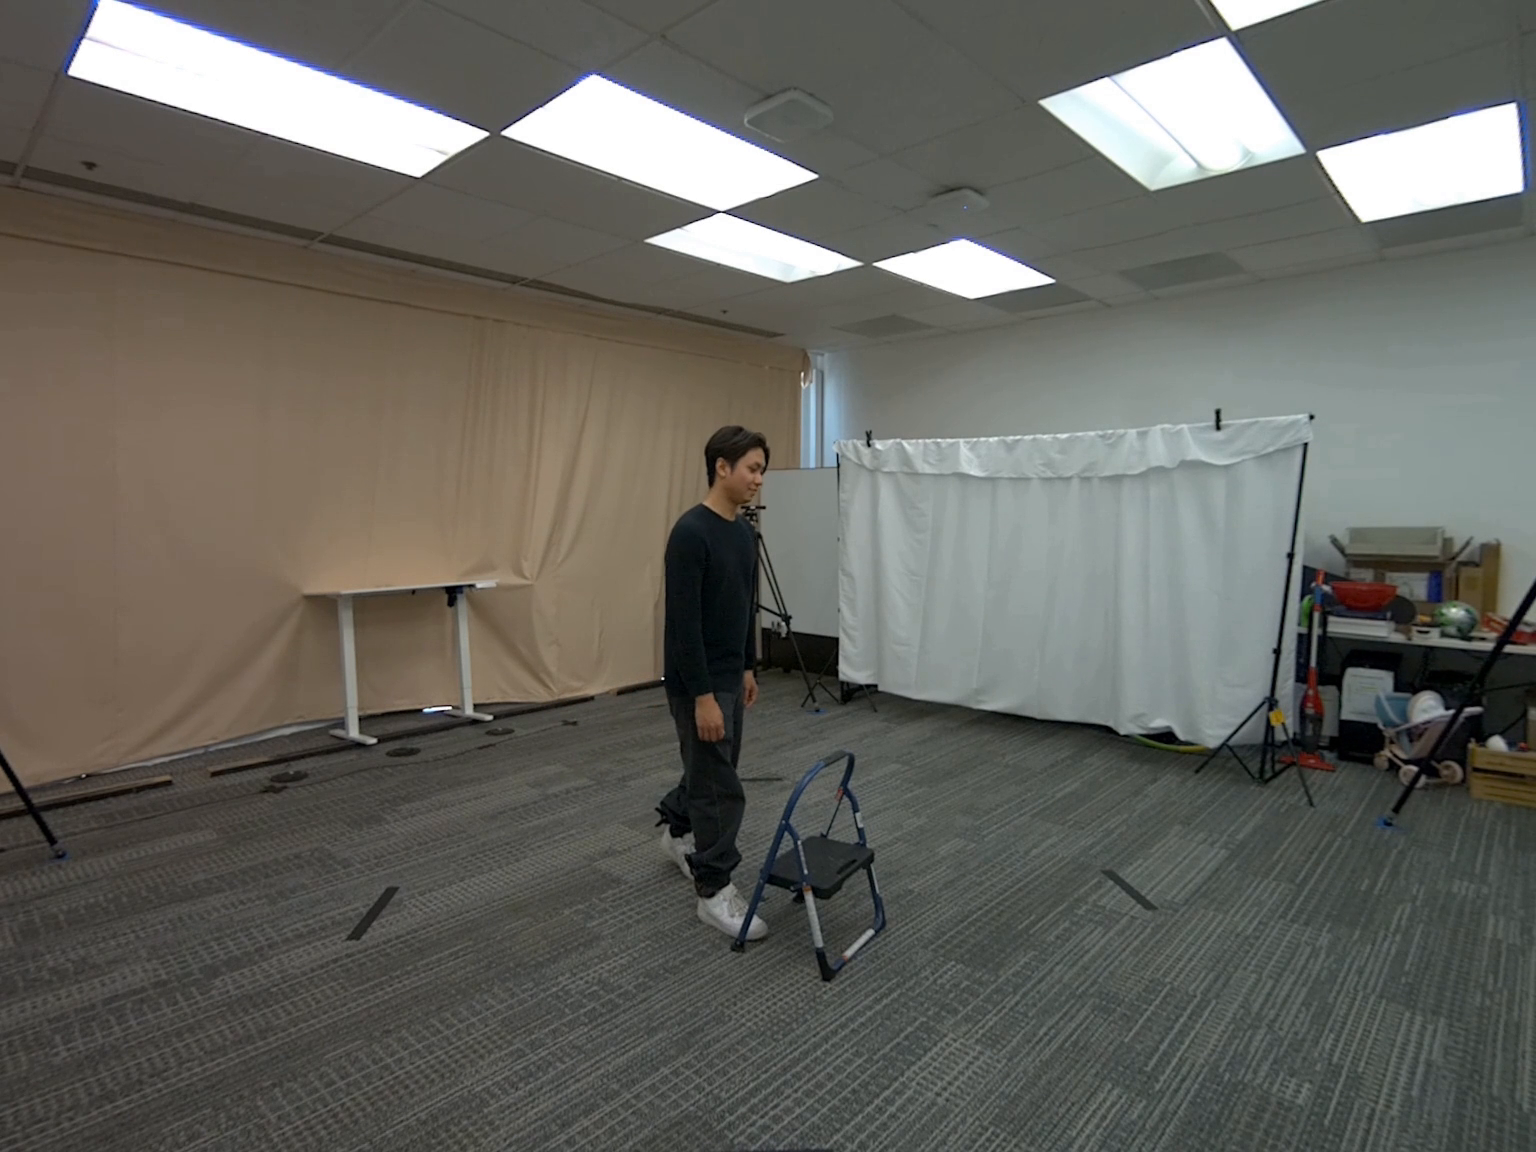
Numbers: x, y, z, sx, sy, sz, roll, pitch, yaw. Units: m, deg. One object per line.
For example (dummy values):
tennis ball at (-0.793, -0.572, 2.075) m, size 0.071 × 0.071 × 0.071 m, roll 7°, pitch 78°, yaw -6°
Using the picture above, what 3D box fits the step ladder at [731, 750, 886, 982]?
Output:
step ladder at (0.147, 0.864, 2.696) m, size 0.360 × 0.605 × 0.418 m, roll 2°, pitch 4°, yaw 33°
